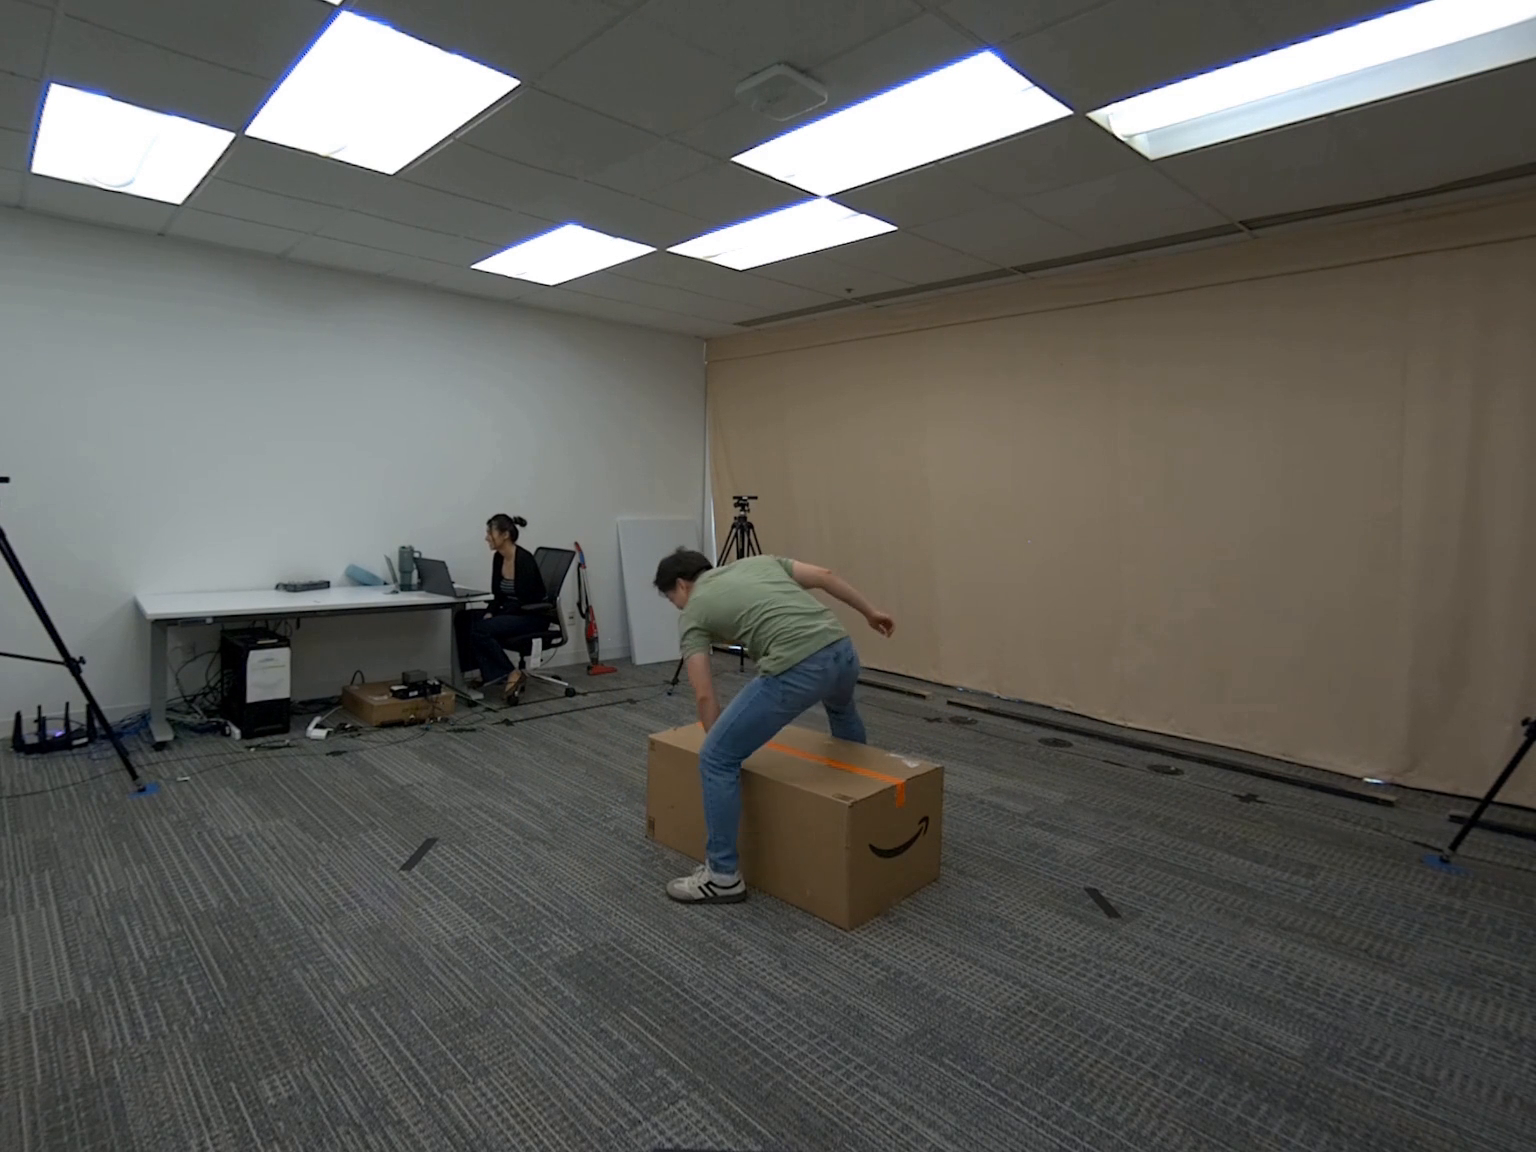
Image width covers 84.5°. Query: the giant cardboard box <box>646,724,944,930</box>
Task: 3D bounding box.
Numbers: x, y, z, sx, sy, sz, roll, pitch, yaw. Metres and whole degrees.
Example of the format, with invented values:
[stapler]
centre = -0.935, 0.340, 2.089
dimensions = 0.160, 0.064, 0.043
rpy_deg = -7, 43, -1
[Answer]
[giant cardboard box]
centre = 0.069, 0.882, 3.259
dimensions = 1.052, 0.425, 0.564
rpy_deg = 6, 6, 44
